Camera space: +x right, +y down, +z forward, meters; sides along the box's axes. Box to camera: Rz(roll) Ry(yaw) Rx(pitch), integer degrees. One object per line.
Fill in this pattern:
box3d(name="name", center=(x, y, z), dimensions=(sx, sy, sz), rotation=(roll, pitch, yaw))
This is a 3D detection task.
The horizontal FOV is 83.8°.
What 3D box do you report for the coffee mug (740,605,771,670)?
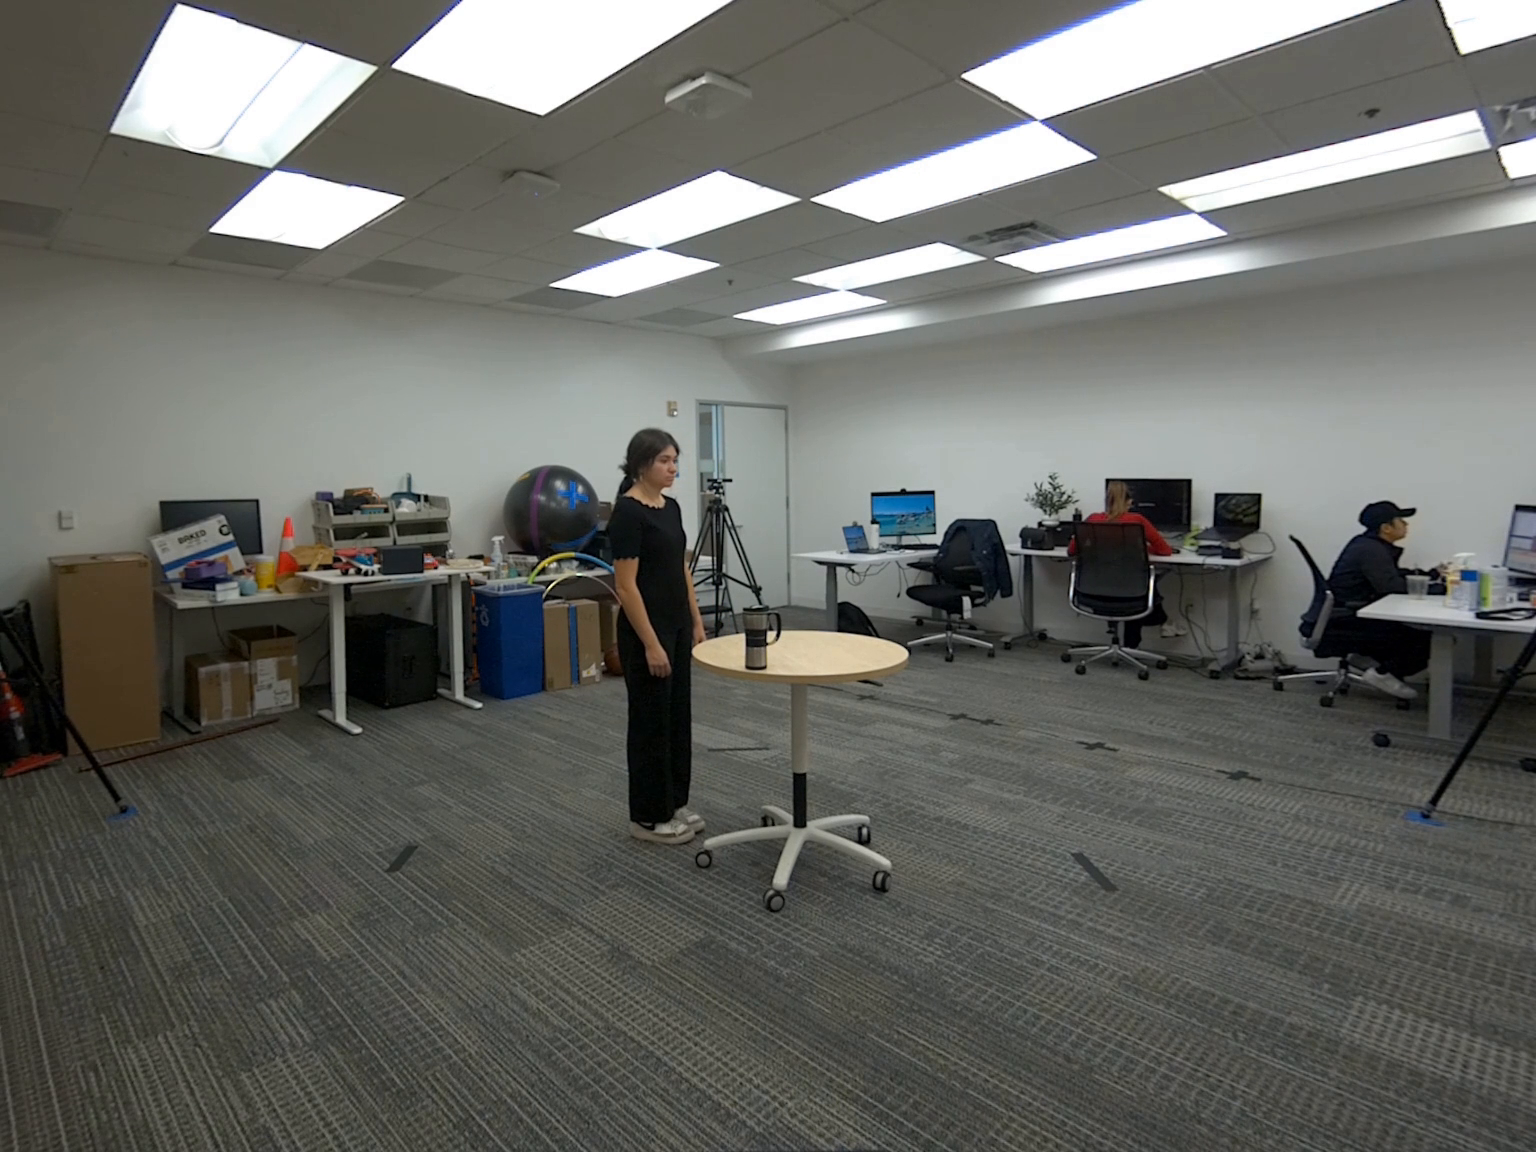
box3d(name="coffee mug", center=(-0.018, 0.198, 2.759), dimensions=(0.125, 0.203, 0.086), rotation=(-2, 1, 31))
